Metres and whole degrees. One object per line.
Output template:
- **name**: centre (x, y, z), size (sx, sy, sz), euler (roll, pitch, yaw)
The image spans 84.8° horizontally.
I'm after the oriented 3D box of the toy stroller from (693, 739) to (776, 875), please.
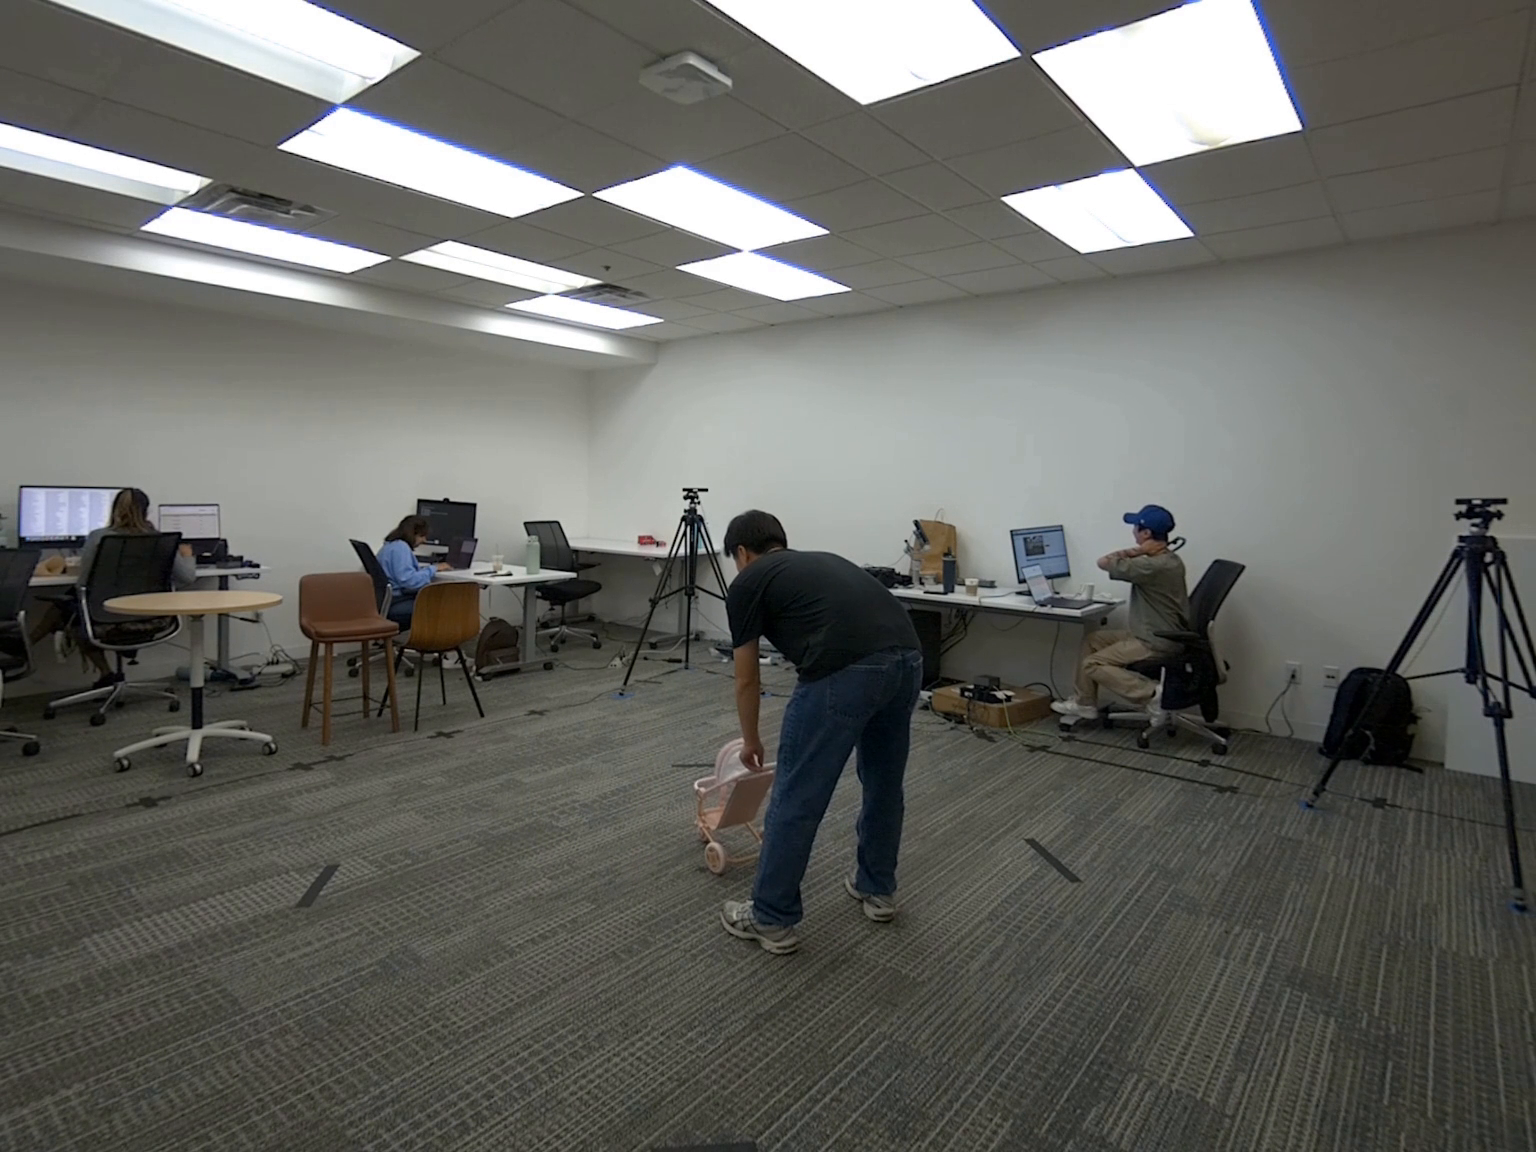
- **toy stroller**: centre (-0.137, 0.839, 3.196), size (0.273, 0.528, 0.356), euler (-1, 22, -34)
